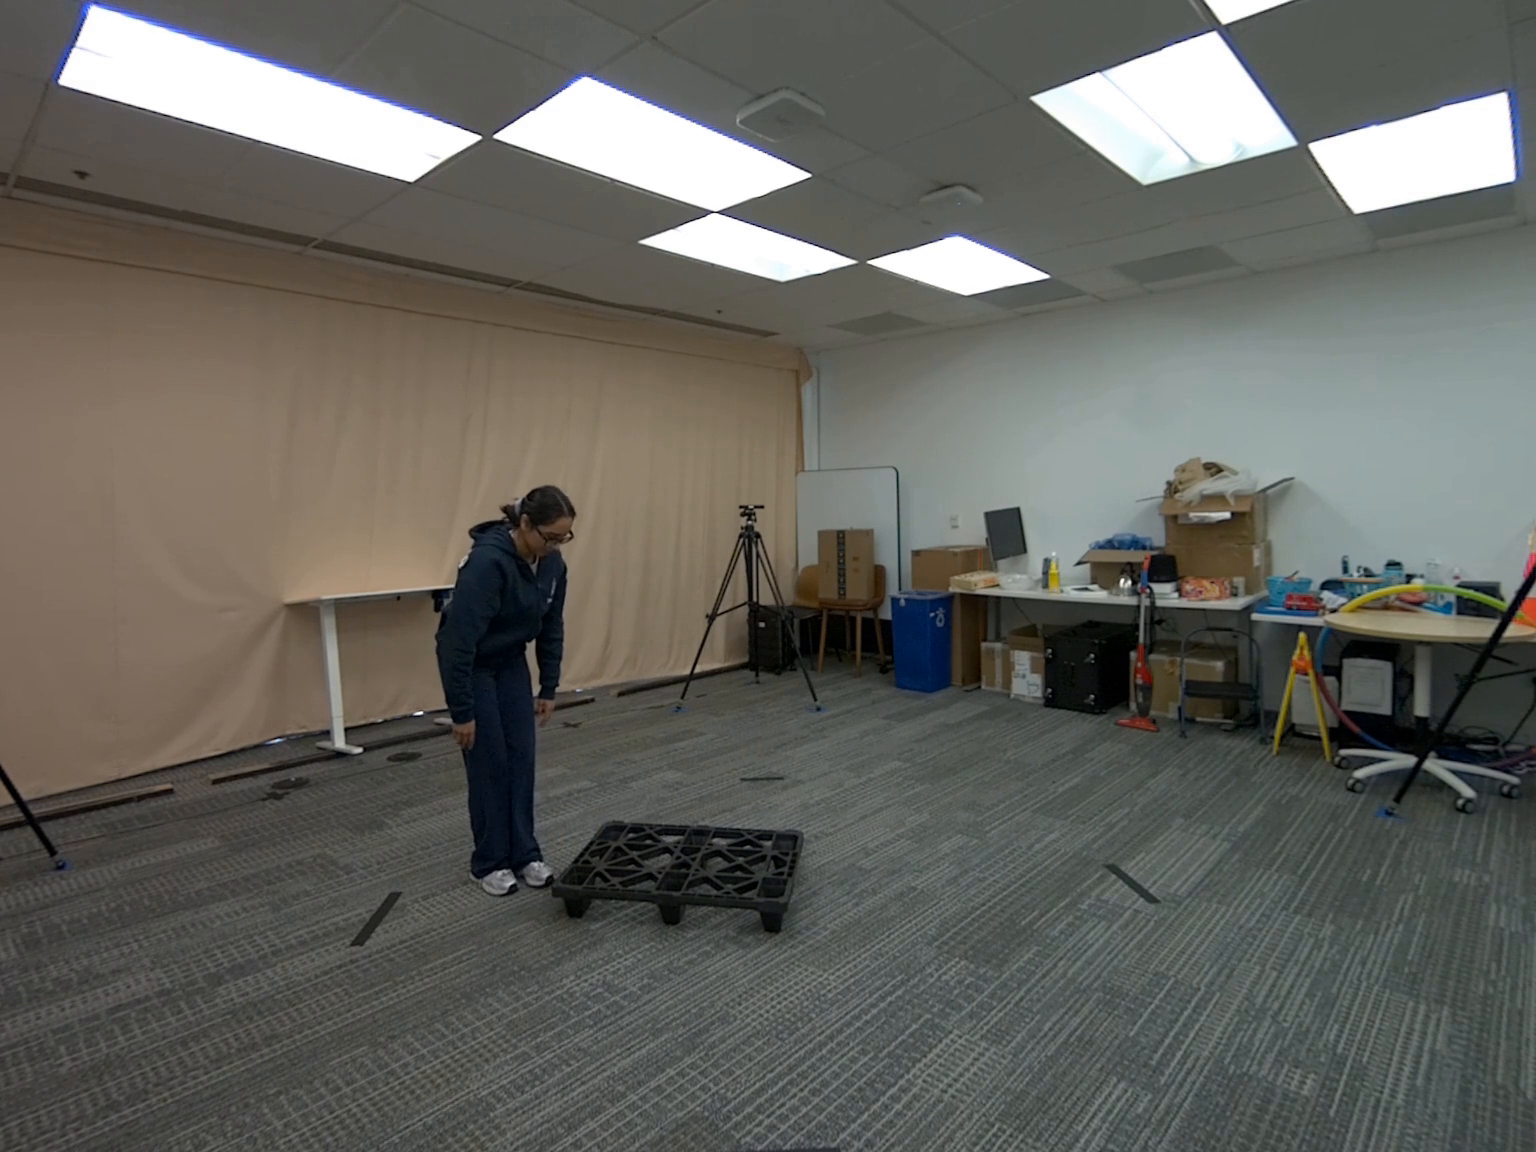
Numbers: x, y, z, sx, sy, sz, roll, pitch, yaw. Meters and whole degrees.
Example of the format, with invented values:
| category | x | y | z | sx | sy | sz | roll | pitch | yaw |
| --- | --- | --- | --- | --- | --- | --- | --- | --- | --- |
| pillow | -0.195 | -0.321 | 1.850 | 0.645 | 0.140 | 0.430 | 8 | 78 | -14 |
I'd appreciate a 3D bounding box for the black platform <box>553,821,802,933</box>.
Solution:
| category | x | y | z | sx | sy | sz | roll | pitch | yaw |
| --- | --- | --- | --- | --- | --- | --- | --- | --- | --- |
| black platform | -0.295 | 1.075 | 3.034 | 0.815 | 0.143 | 0.599 | 0 | 4 | 10 |
